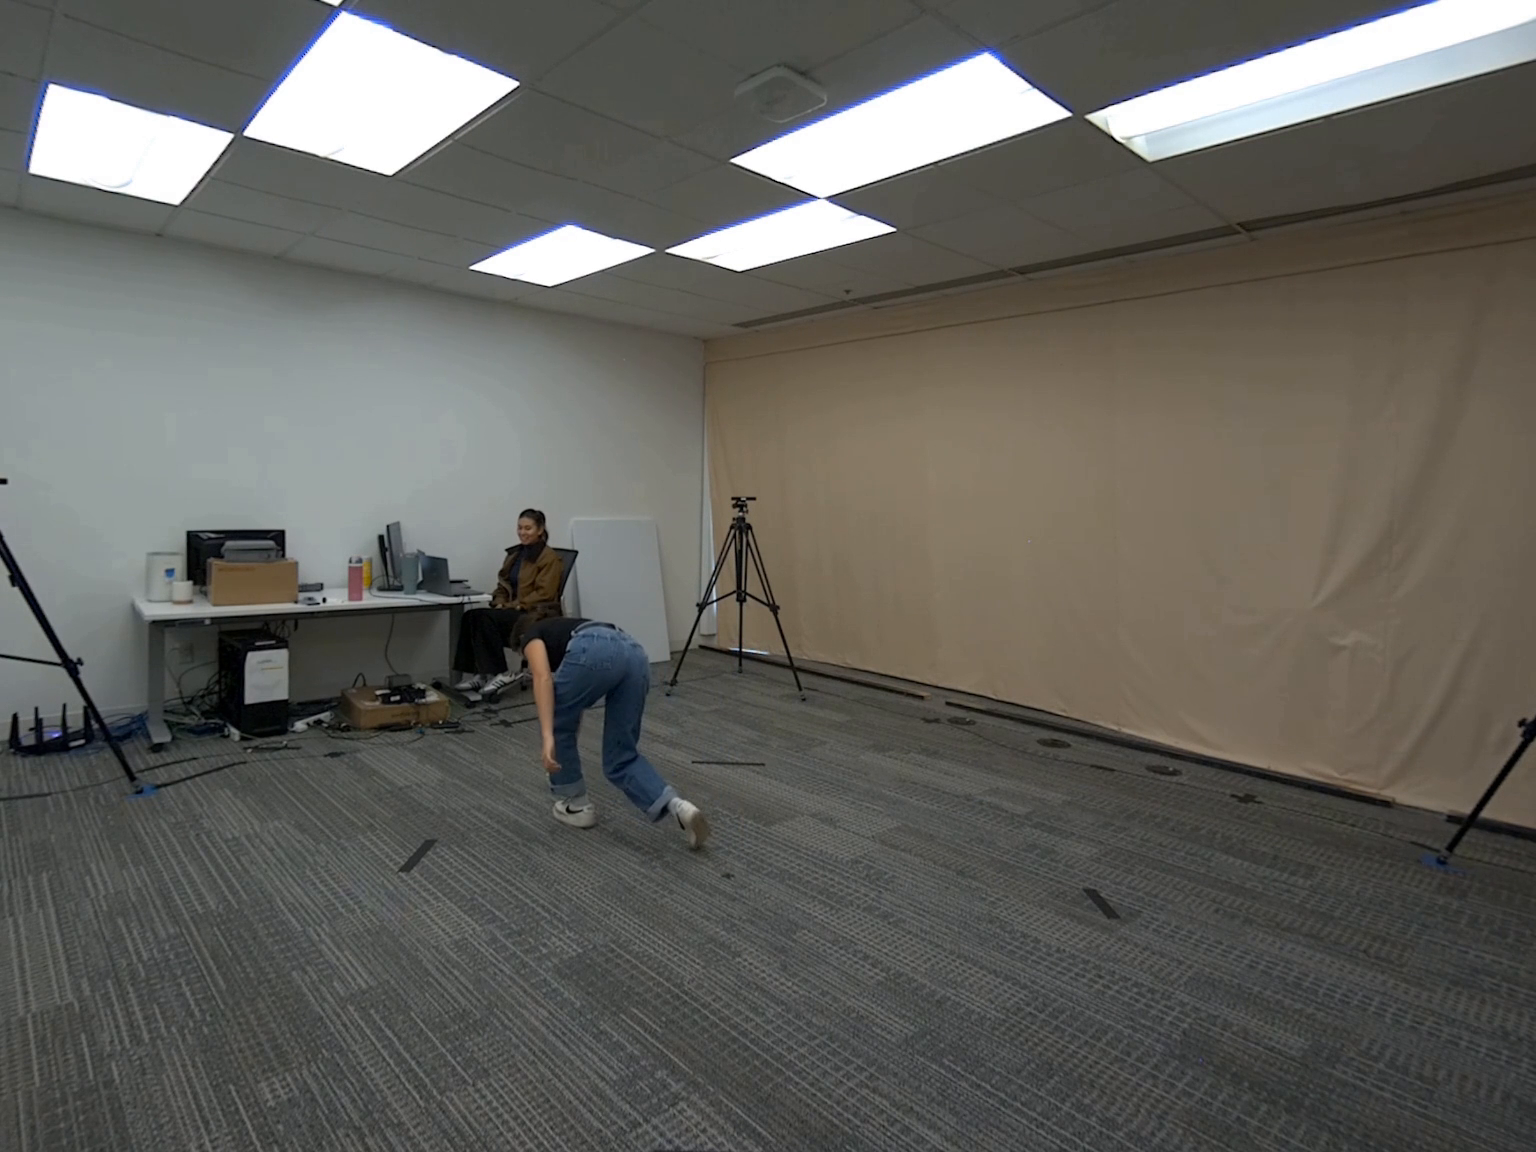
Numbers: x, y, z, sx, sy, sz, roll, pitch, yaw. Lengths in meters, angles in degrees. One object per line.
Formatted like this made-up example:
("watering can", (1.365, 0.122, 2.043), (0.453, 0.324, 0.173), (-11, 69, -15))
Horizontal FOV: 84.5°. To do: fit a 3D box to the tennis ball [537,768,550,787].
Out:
("tennis ball", (-1.061, 0.956, 4.026), (0.066, 0.066, 0.067), (1, 4, -1))
